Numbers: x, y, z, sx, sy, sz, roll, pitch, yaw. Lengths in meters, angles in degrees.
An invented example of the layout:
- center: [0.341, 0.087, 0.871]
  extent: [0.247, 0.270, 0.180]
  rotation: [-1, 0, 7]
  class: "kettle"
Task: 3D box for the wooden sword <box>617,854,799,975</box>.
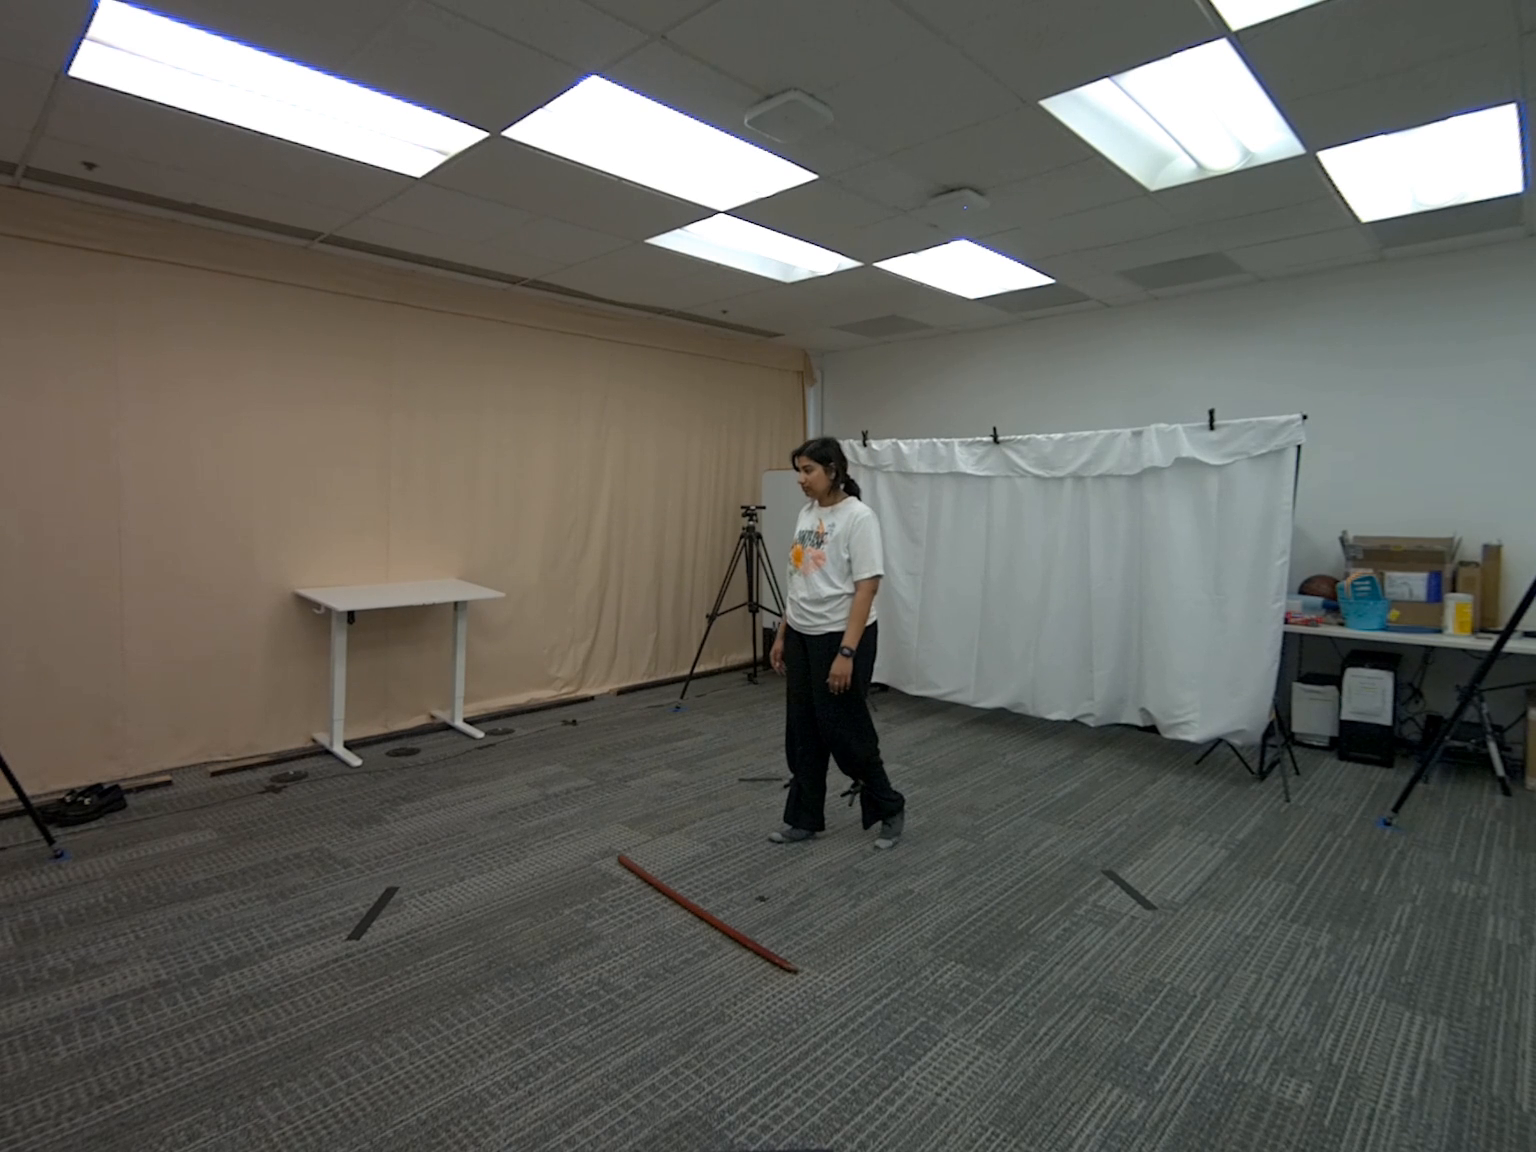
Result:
- center: [-0.251, 1.133, 2.905]
  extent: [0.049, 0.024, 1.058]
  rotation: [17, -7, -39]
  class: "wooden sword"
